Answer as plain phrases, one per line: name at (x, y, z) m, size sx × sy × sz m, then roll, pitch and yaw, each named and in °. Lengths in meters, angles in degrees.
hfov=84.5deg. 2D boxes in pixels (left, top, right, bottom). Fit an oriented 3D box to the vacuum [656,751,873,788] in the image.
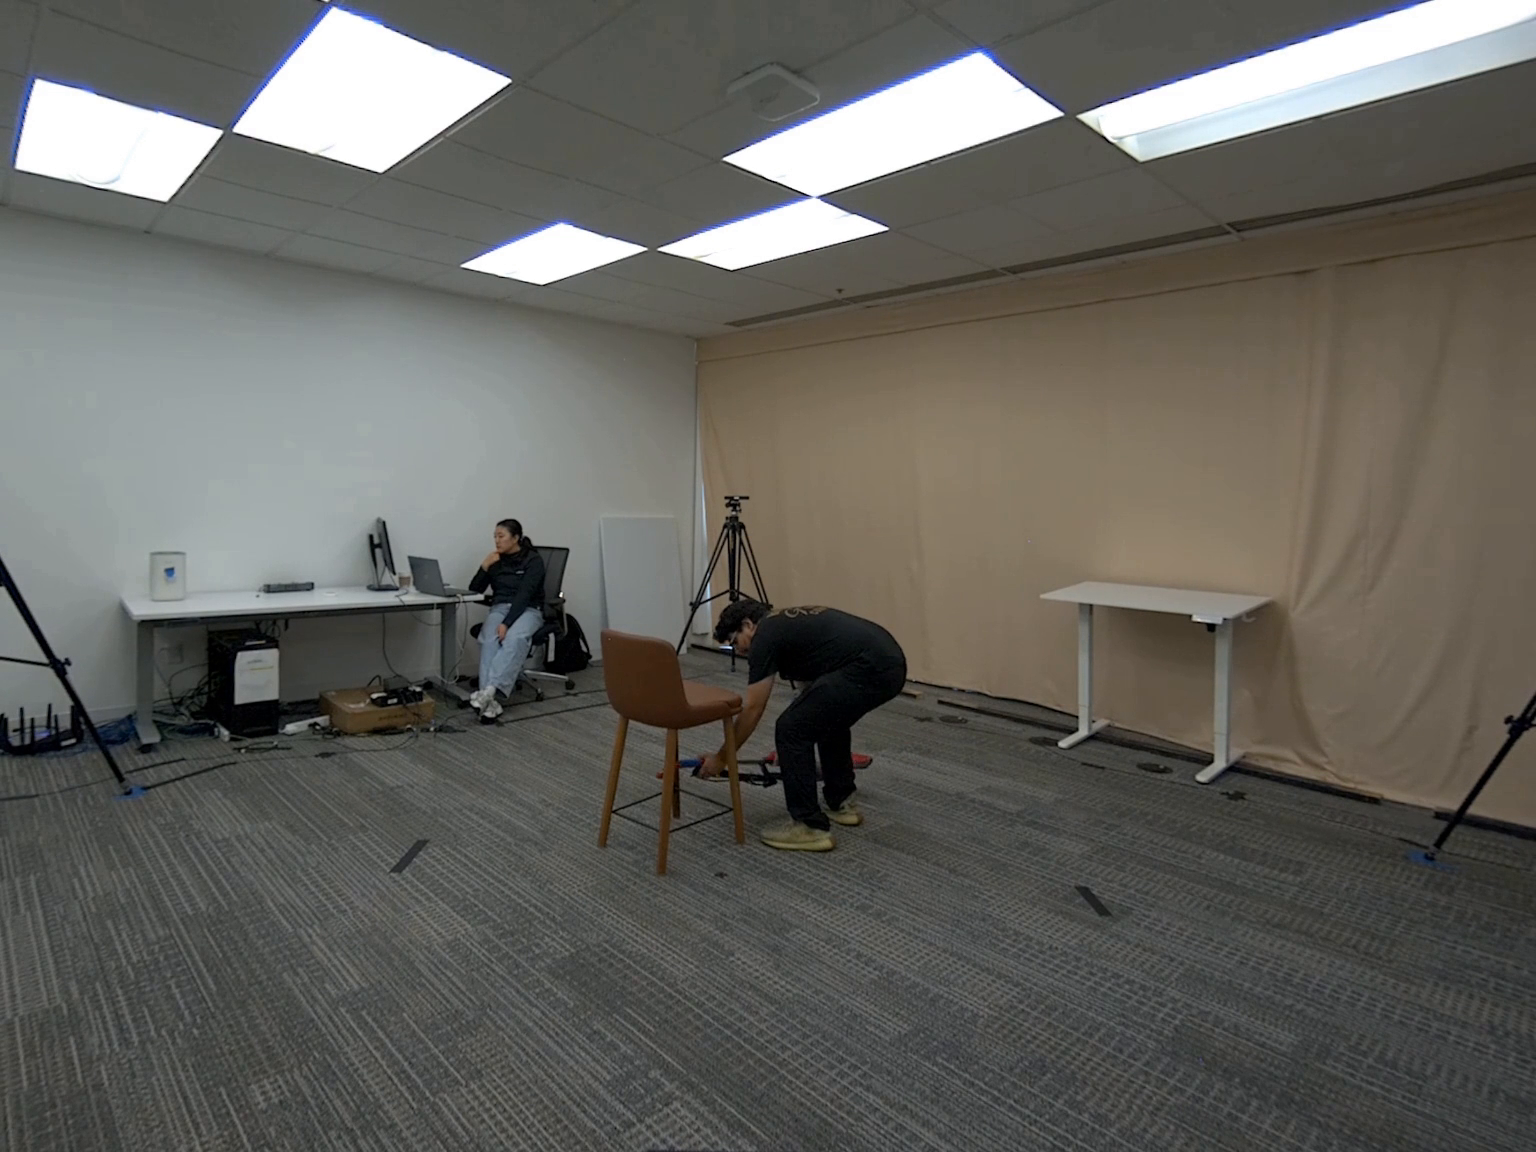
vacuum at (-0.029, 0.874, 3.731) m, size 1.024 × 0.144 × 0.259 m, roll 4°, pitch 2°, yaw -35°
